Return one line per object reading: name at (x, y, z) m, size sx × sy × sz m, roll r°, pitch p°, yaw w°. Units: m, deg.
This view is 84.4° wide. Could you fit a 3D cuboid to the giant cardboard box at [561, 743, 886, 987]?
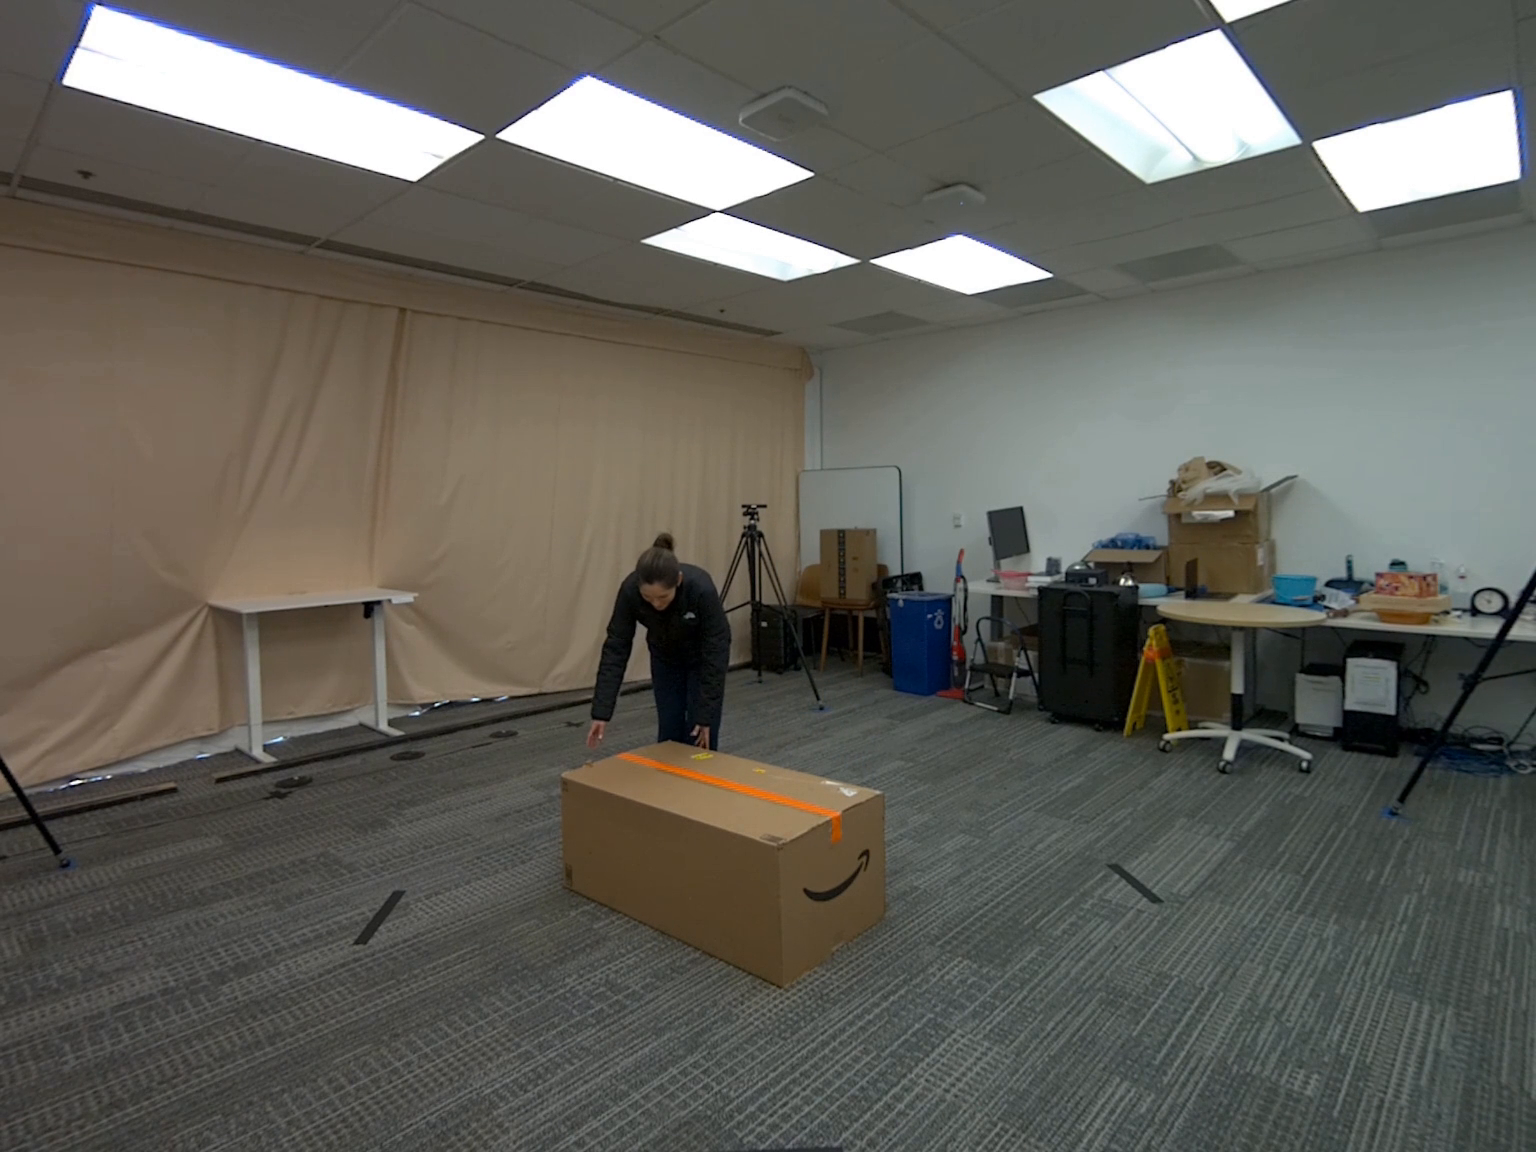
giant cardboard box at (-0.167, 0.933, 2.952) m, size 1.059 × 0.425 × 0.560 m, roll 3°, pitch 5°, yaw 40°
